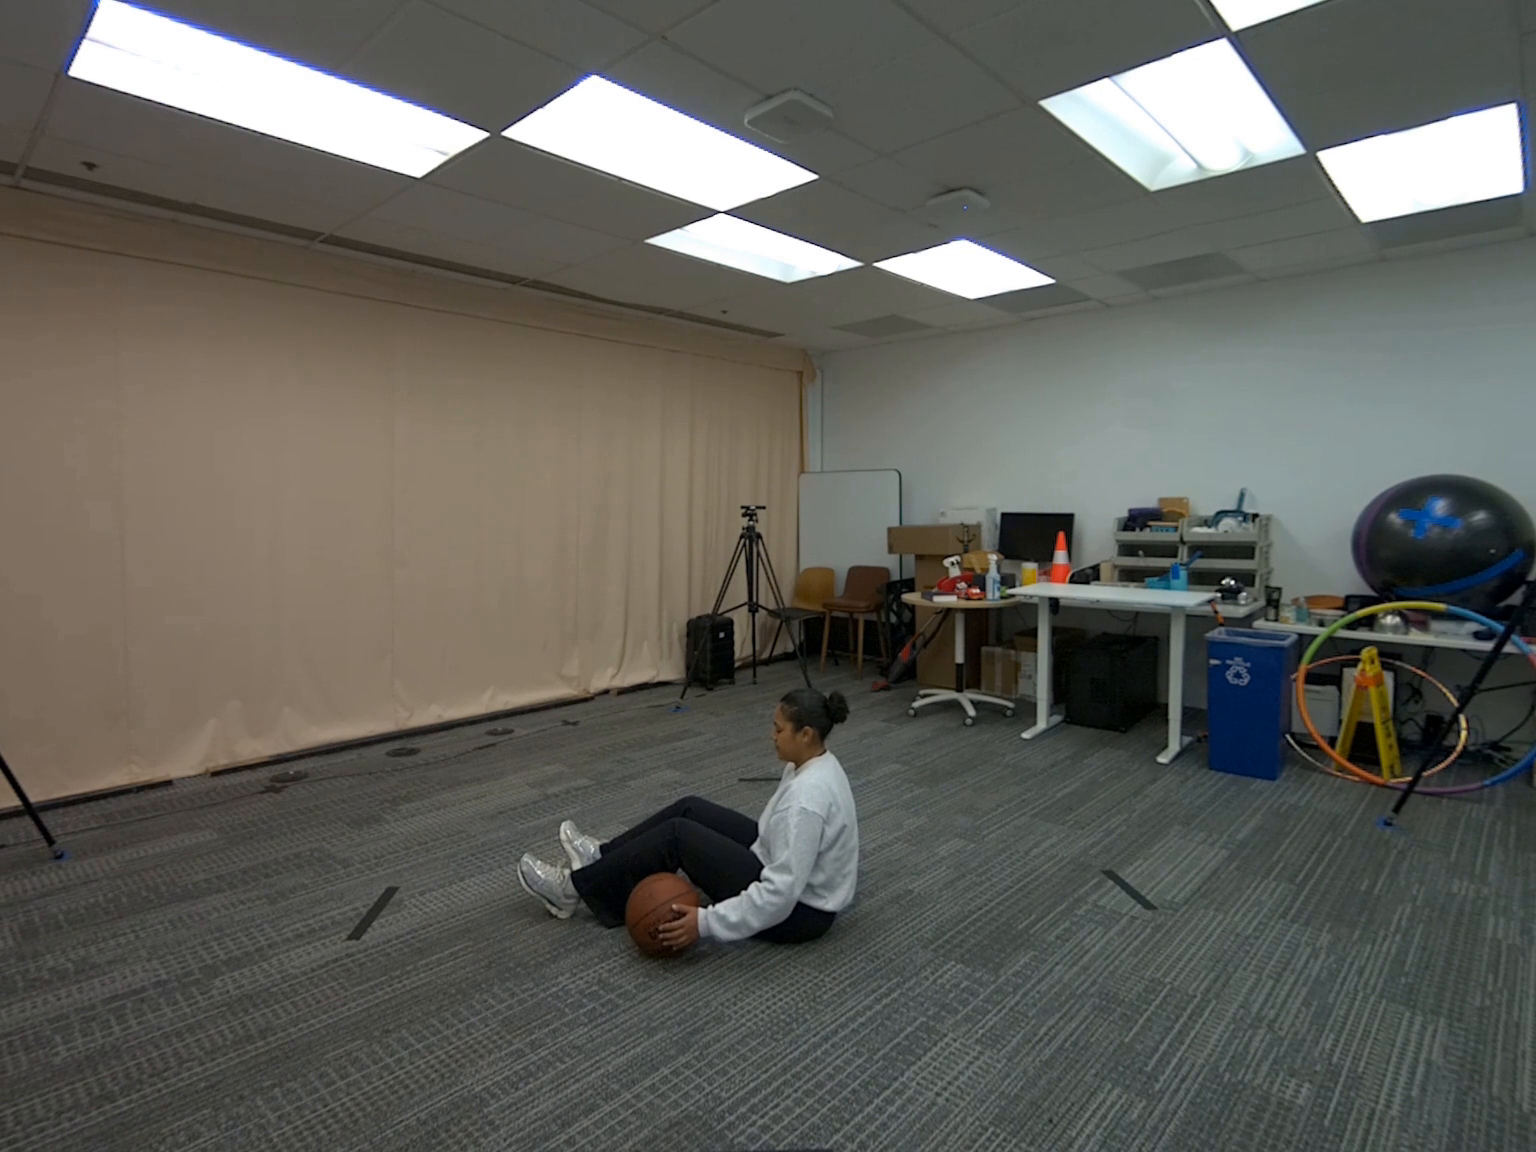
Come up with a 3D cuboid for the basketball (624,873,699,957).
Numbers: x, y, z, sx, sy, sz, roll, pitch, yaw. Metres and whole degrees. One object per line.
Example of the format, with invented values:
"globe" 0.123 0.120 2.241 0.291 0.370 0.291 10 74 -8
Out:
"basketball" -0.328 1.053 2.648 0.236 0.235 0.237 0 4 -2
